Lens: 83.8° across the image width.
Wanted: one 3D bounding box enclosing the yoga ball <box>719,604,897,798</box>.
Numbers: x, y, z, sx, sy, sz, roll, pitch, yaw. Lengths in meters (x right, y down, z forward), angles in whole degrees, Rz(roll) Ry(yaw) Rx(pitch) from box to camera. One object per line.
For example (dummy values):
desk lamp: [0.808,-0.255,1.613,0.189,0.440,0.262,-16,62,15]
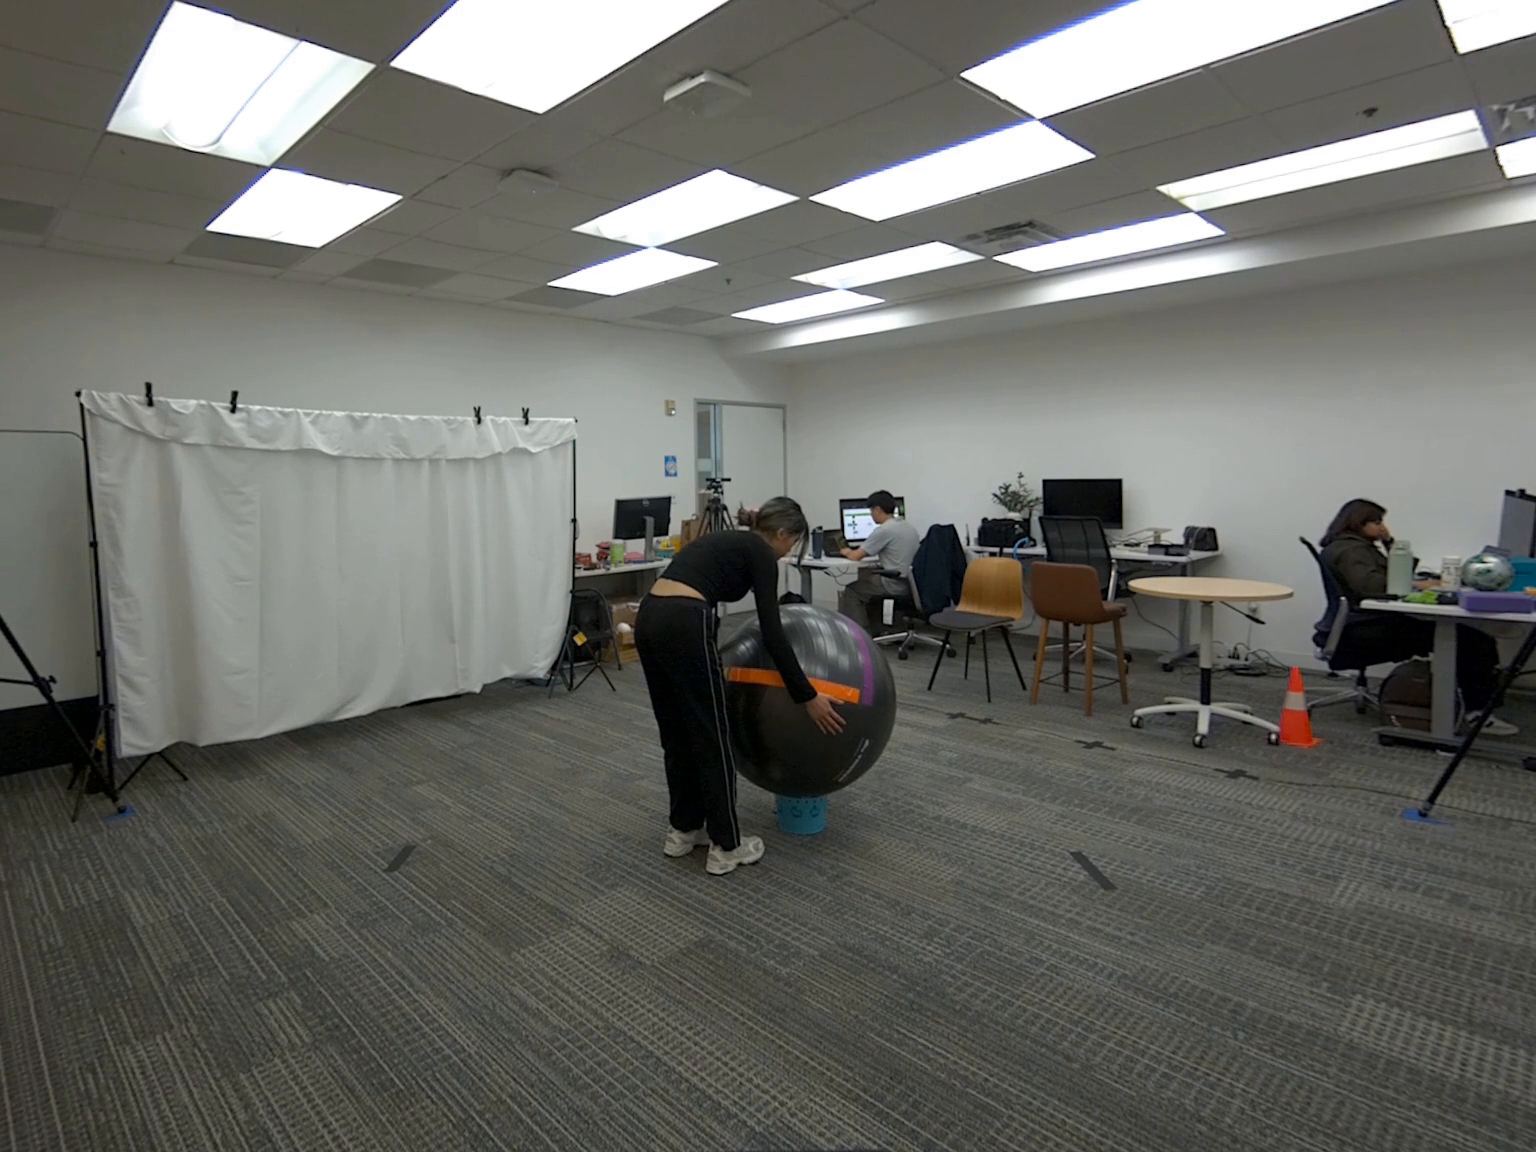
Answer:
yoga ball: [0.127,0.496,3.426,0.757,0.755,0.762,-1,5,-2]
